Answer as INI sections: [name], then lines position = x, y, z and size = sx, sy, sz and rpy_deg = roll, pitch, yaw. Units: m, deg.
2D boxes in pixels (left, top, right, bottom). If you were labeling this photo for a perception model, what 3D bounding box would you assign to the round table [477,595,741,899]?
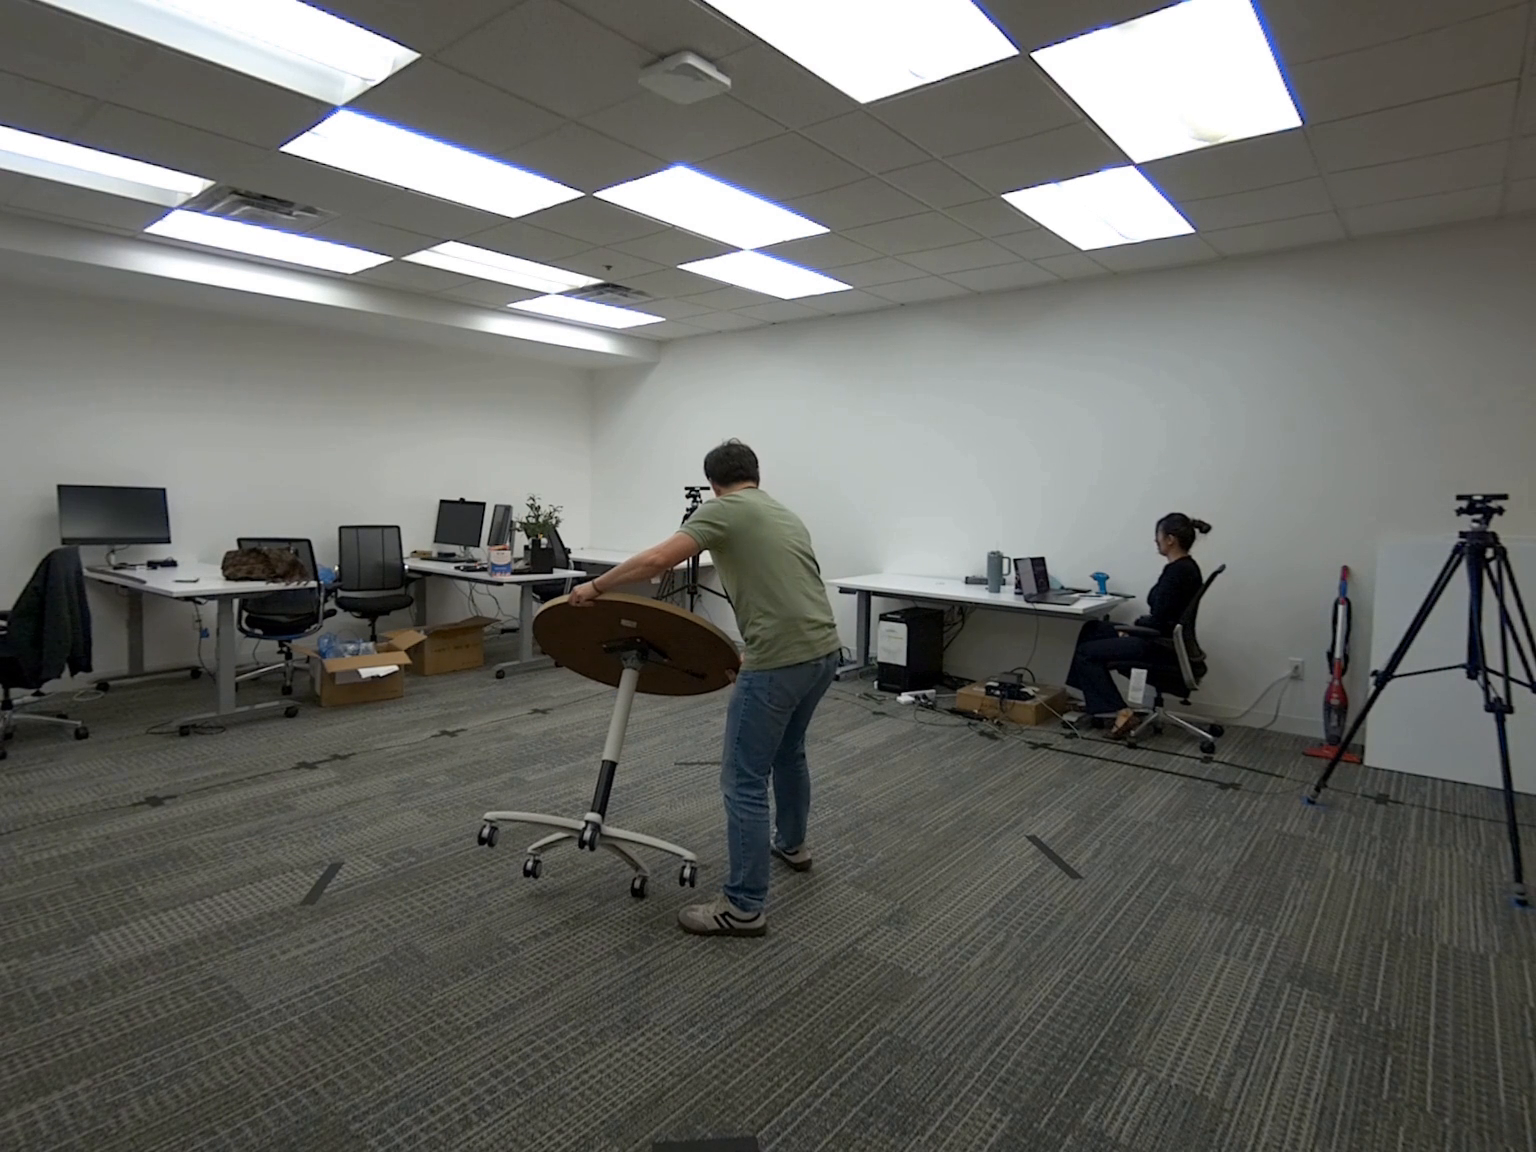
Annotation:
[round table]
position = -0.538, 0.587, 2.874
size = 0.767, 0.811, 0.745
rpy_deg = 7, -31, 3
